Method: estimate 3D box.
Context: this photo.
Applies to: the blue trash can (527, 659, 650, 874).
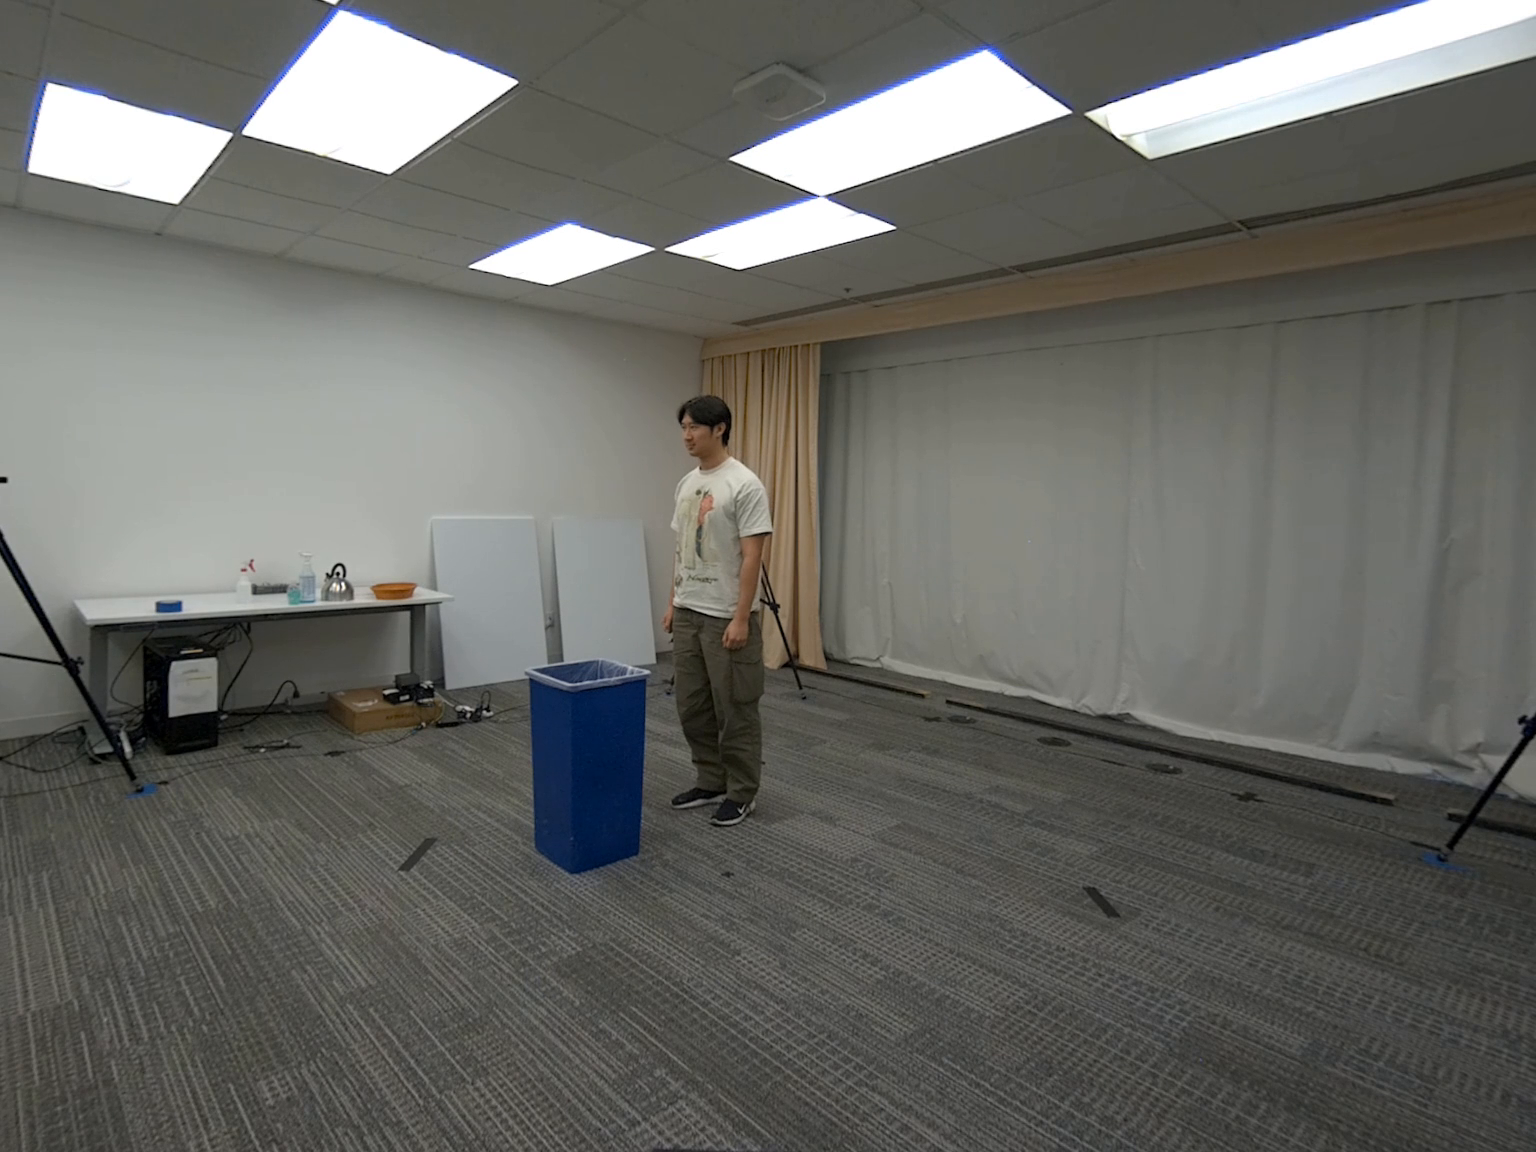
[{"bbox_3d":[-0.709,0.720,3.250,0.365,0.712,0.388,-2,4,-43],"label":"blue trash can"}]
